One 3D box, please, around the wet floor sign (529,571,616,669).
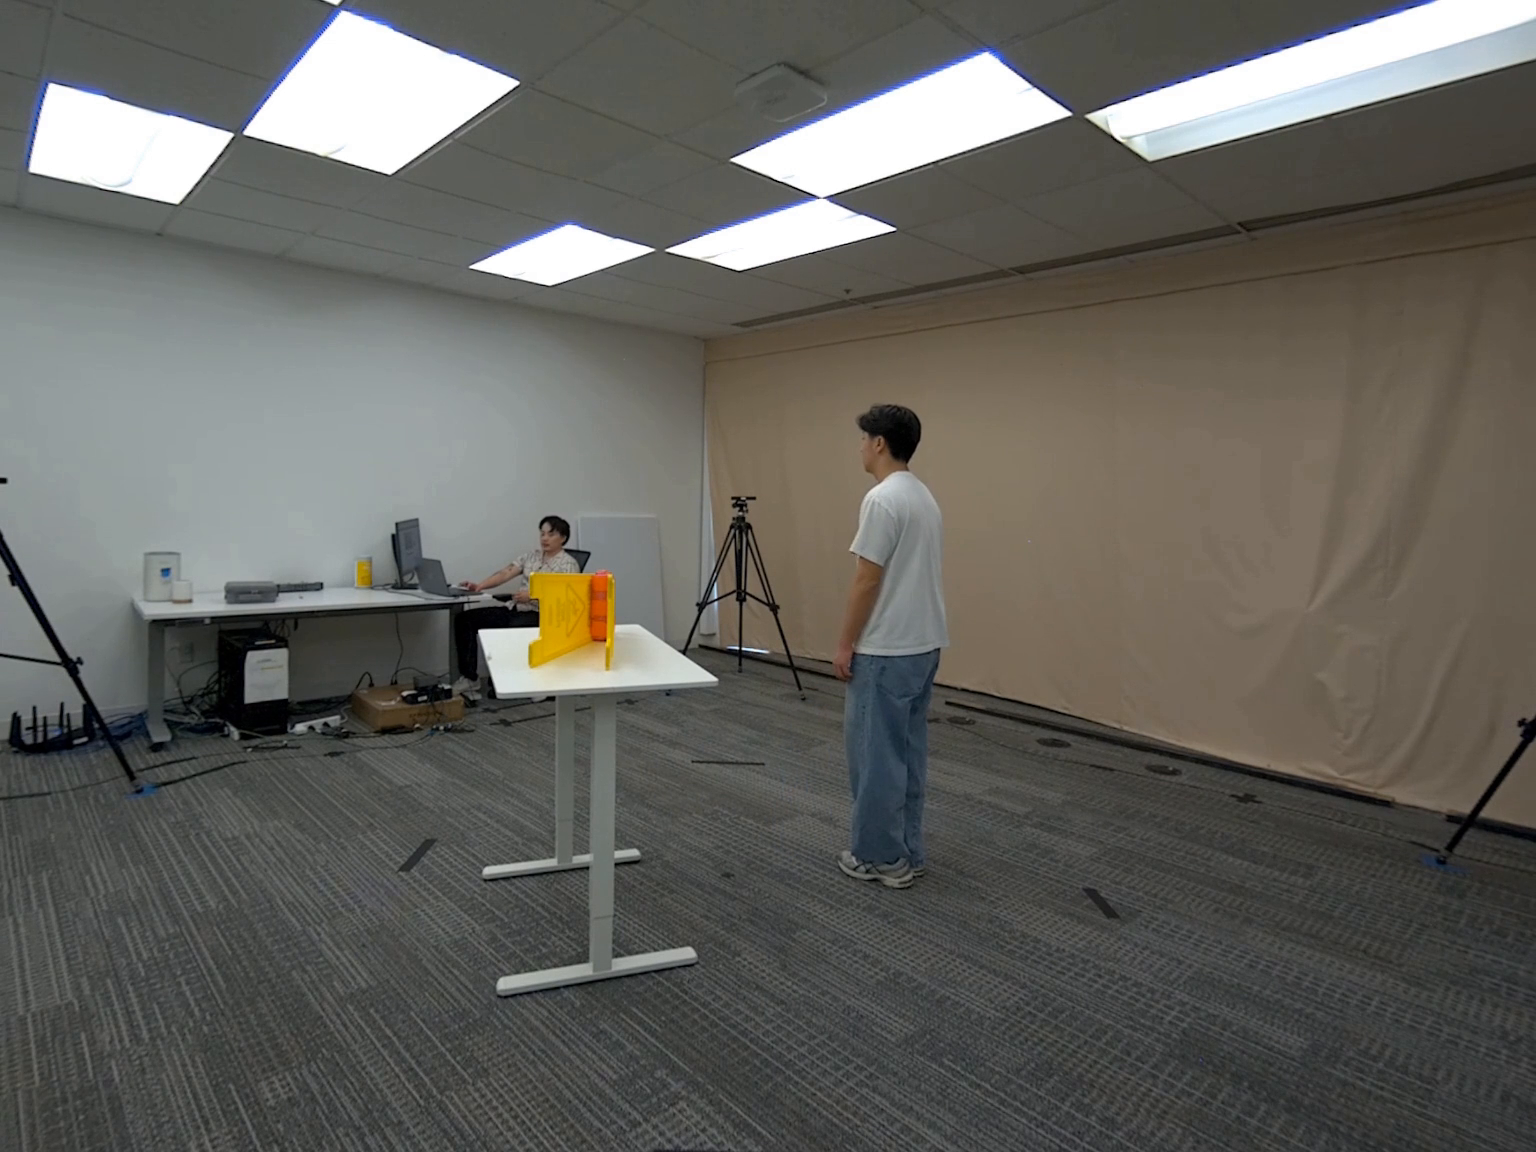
[{"bbox_3d":[-0.588,0.119,2.773,0.290,0.282,0.645,2,2,1],"label":"wet floor sign"}]
